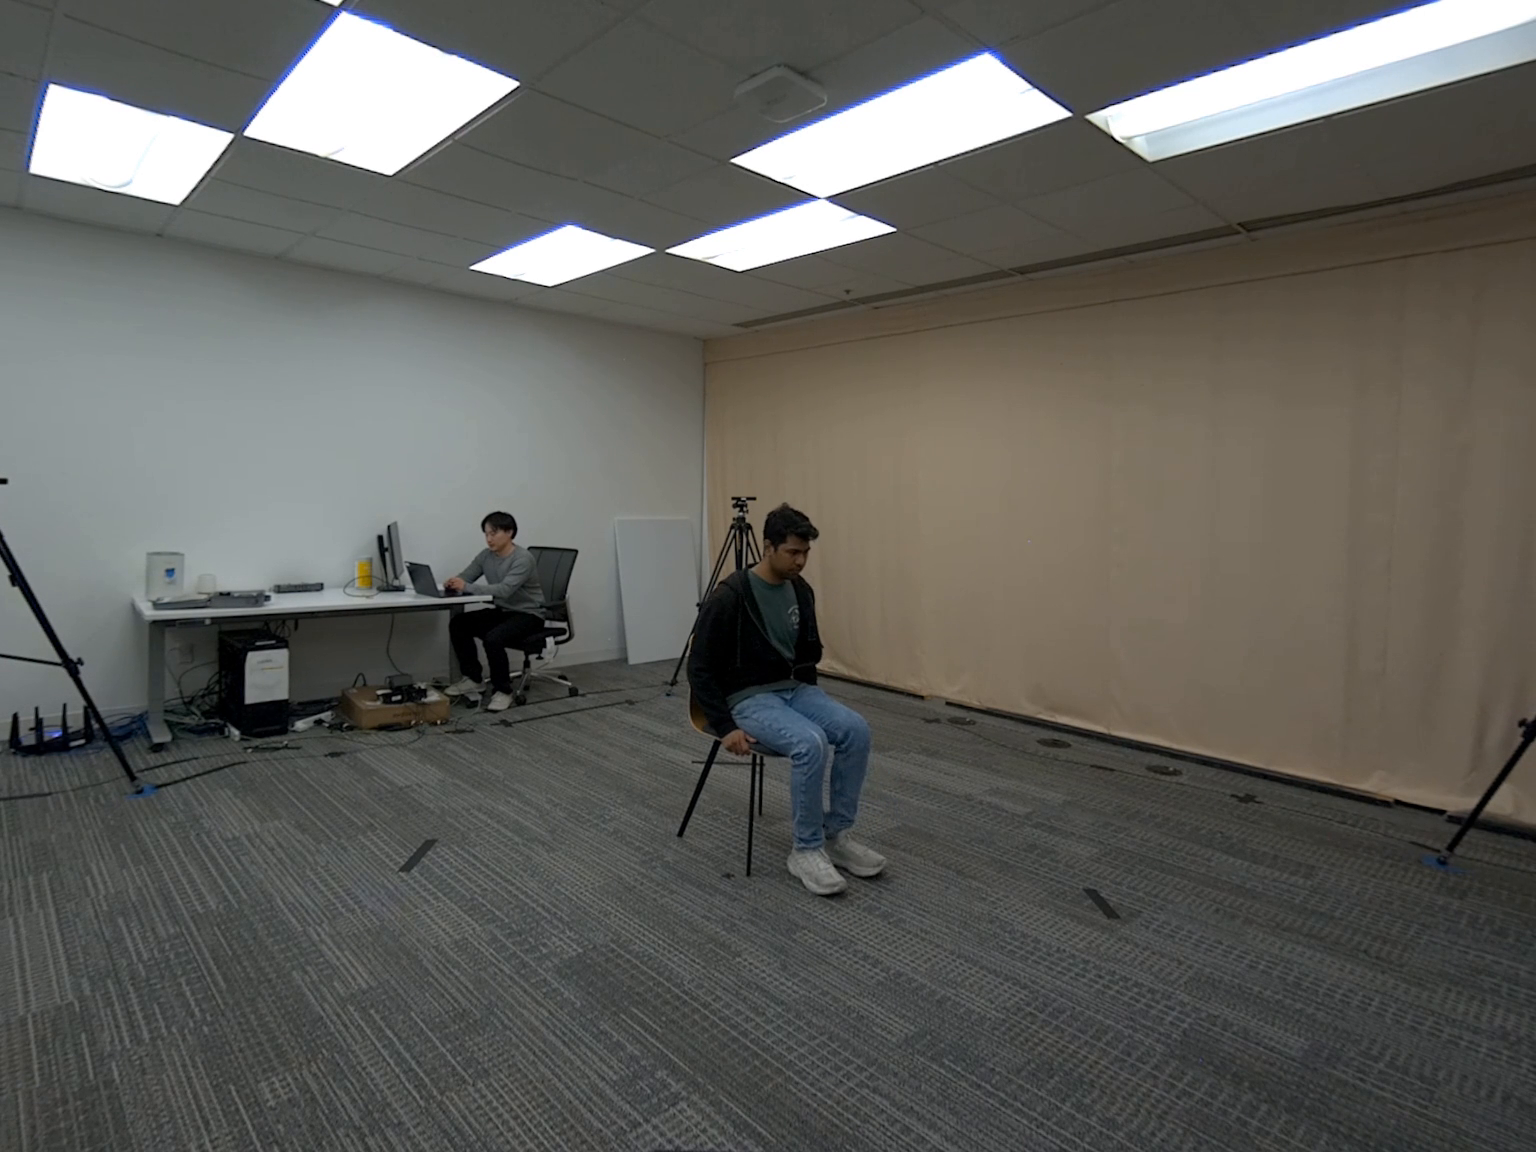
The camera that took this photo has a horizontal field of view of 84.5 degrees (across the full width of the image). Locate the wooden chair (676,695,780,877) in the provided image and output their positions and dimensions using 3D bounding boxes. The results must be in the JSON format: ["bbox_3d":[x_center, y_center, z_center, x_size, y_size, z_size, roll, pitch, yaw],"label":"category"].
[{"bbox_3d":[-0.041,0.657,3.378,0.467,0.877,0.535,0,0,-40],"label":"wooden chair"}]
